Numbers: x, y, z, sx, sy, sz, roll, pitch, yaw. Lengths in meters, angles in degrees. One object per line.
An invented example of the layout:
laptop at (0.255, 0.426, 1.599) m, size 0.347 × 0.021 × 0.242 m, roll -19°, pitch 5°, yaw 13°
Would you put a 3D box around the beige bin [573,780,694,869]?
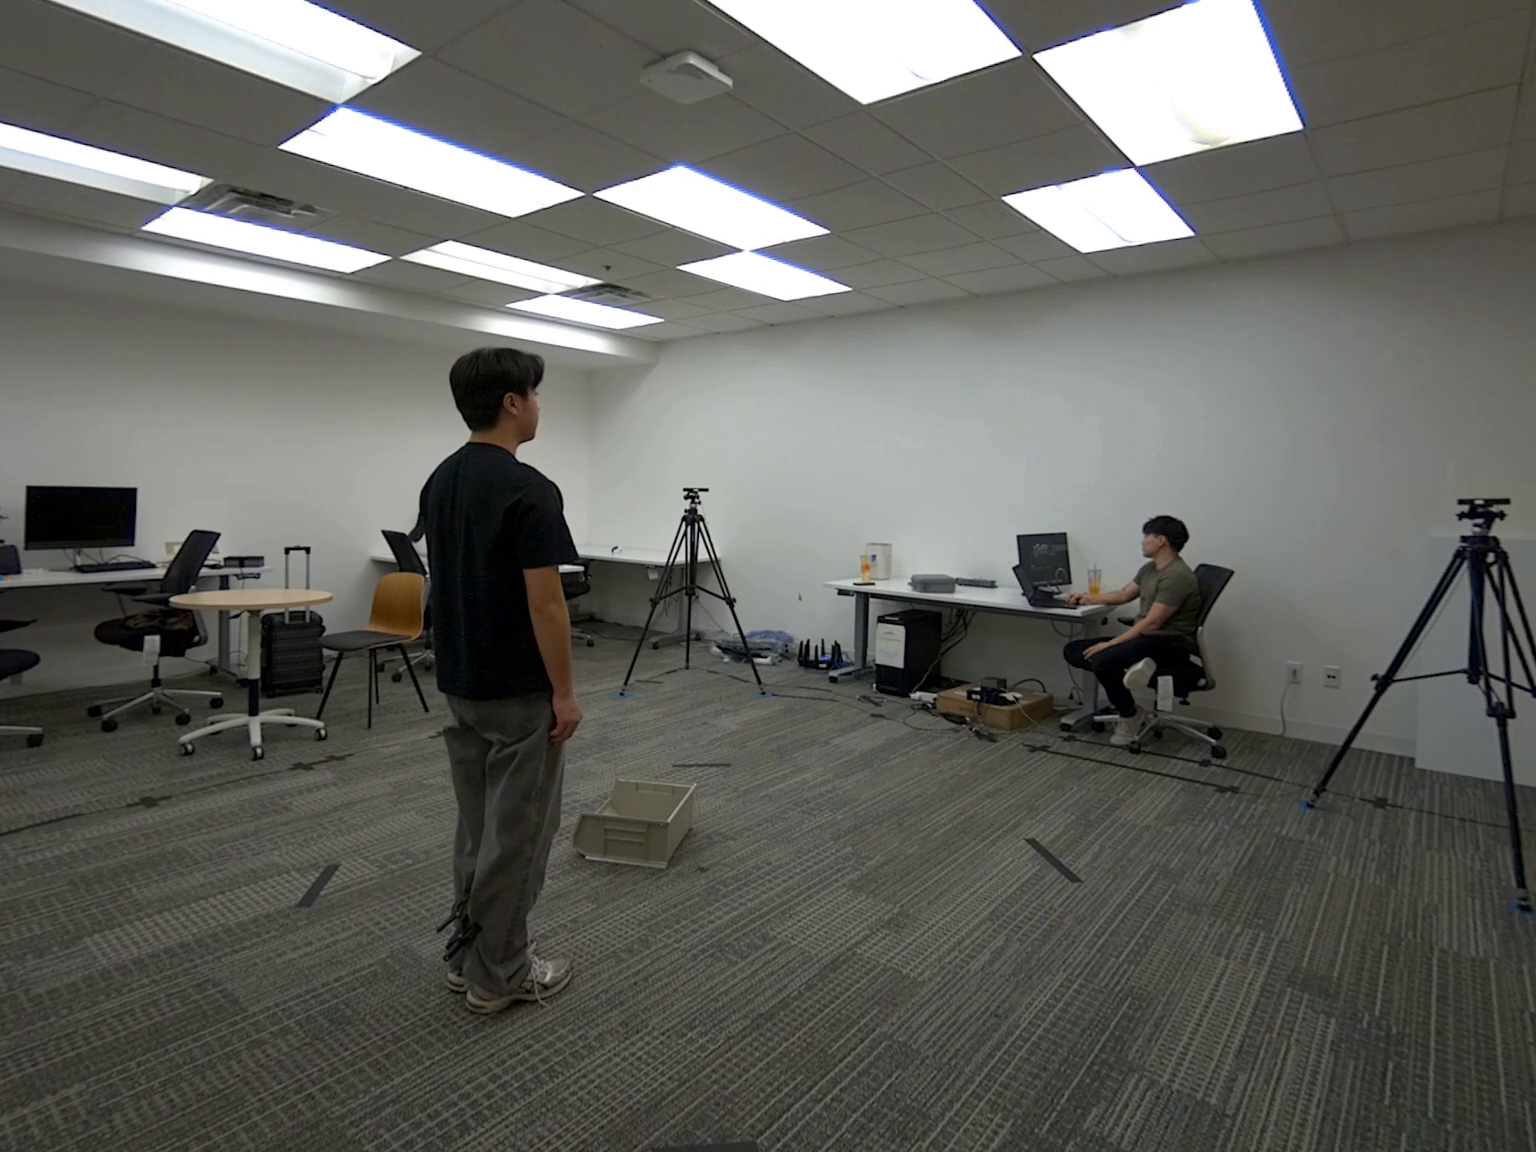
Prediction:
beige bin at (-0.526, 0.952, 3.335) m, size 0.382 × 0.188 × 0.418 m, roll 4°, pitch 5°, yaw 10°
